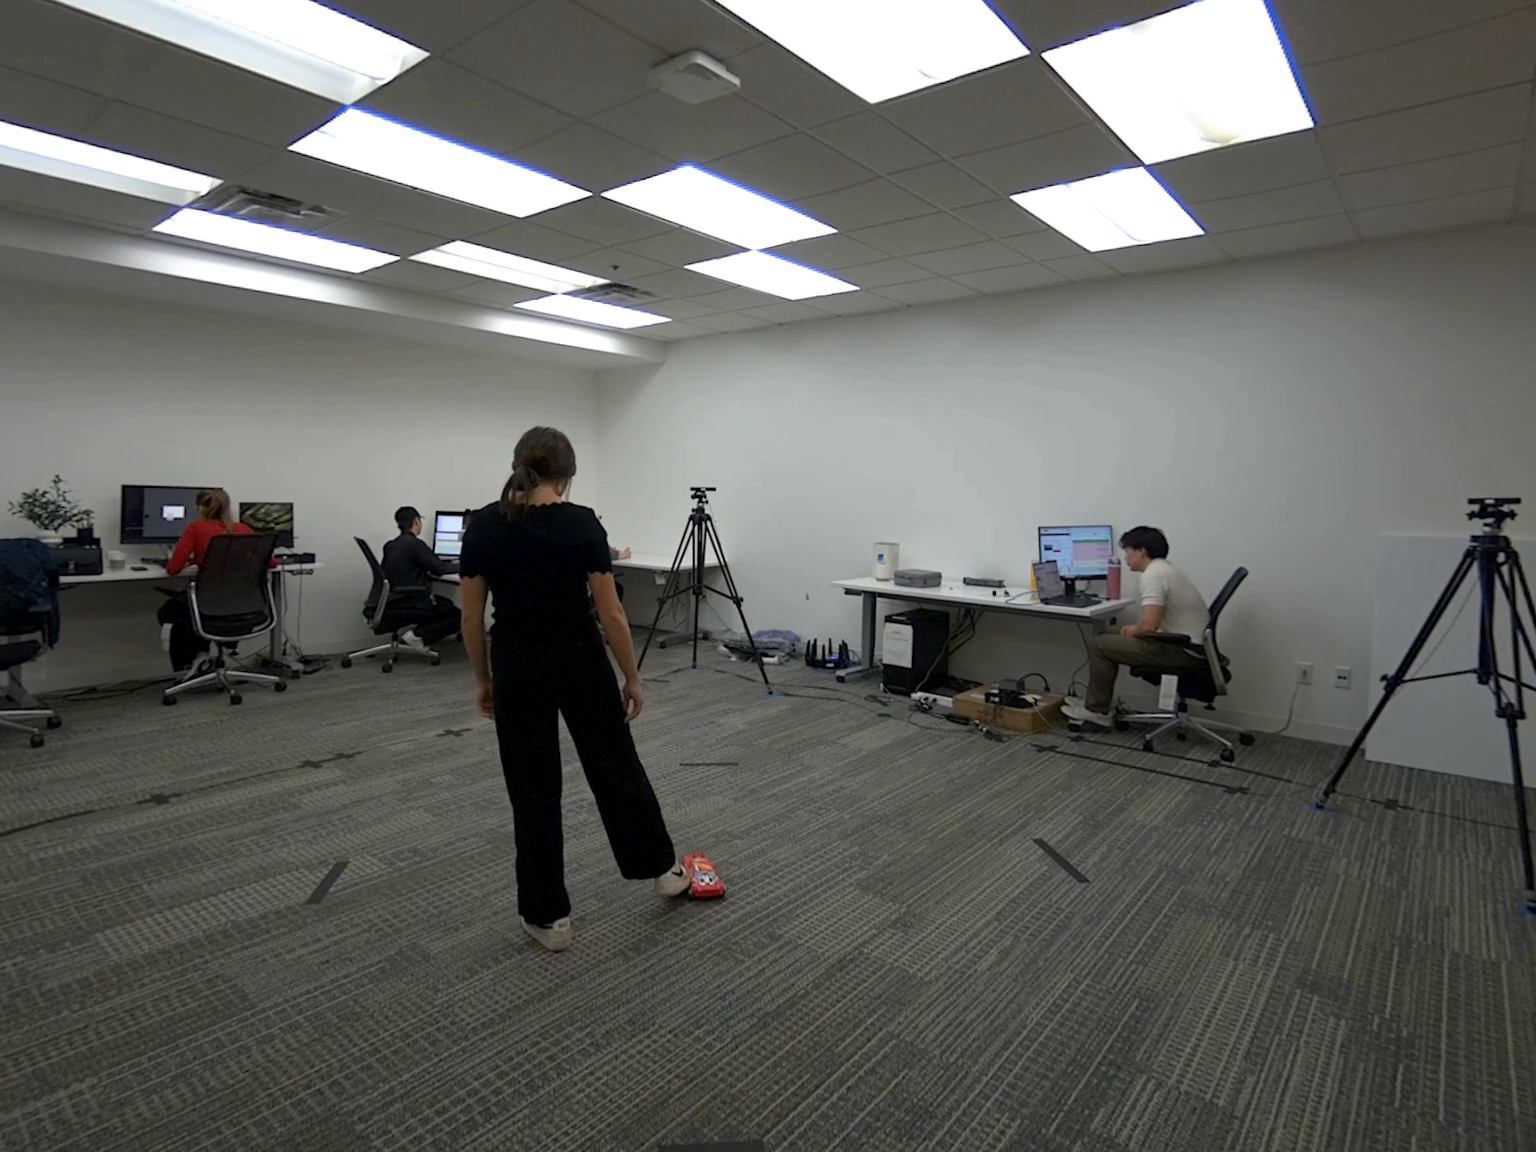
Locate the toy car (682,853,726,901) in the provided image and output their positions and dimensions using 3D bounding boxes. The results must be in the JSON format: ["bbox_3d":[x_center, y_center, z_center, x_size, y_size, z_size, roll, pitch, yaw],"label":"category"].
[{"bbox_3d":[-0.243,1.043,2.975,0.128,0.082,0.261,1,16,-15],"label":"toy car"}]
